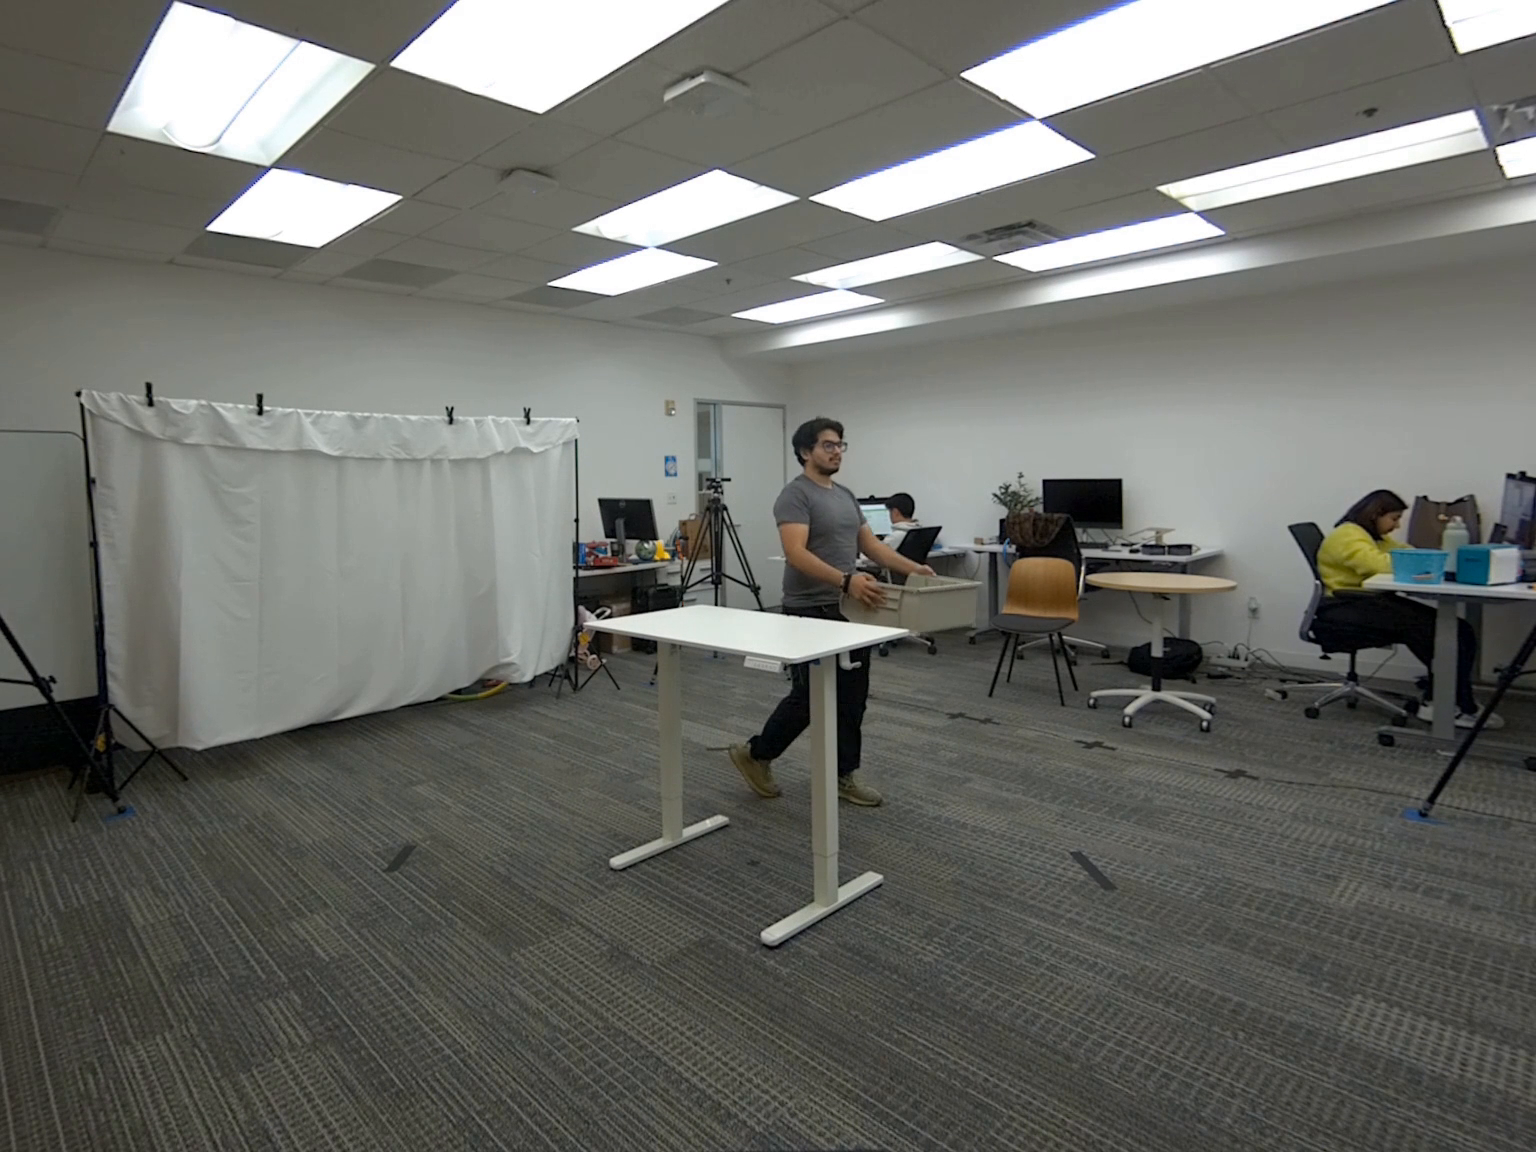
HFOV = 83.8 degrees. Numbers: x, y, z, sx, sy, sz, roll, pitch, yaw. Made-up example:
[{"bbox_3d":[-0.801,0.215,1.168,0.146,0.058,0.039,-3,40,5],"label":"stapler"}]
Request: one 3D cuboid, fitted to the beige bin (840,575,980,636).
[{"bbox_3d":[0.549,0.102,3.381,0.410,0.188,0.390,-3,10,-43],"label":"beige bin"}]
